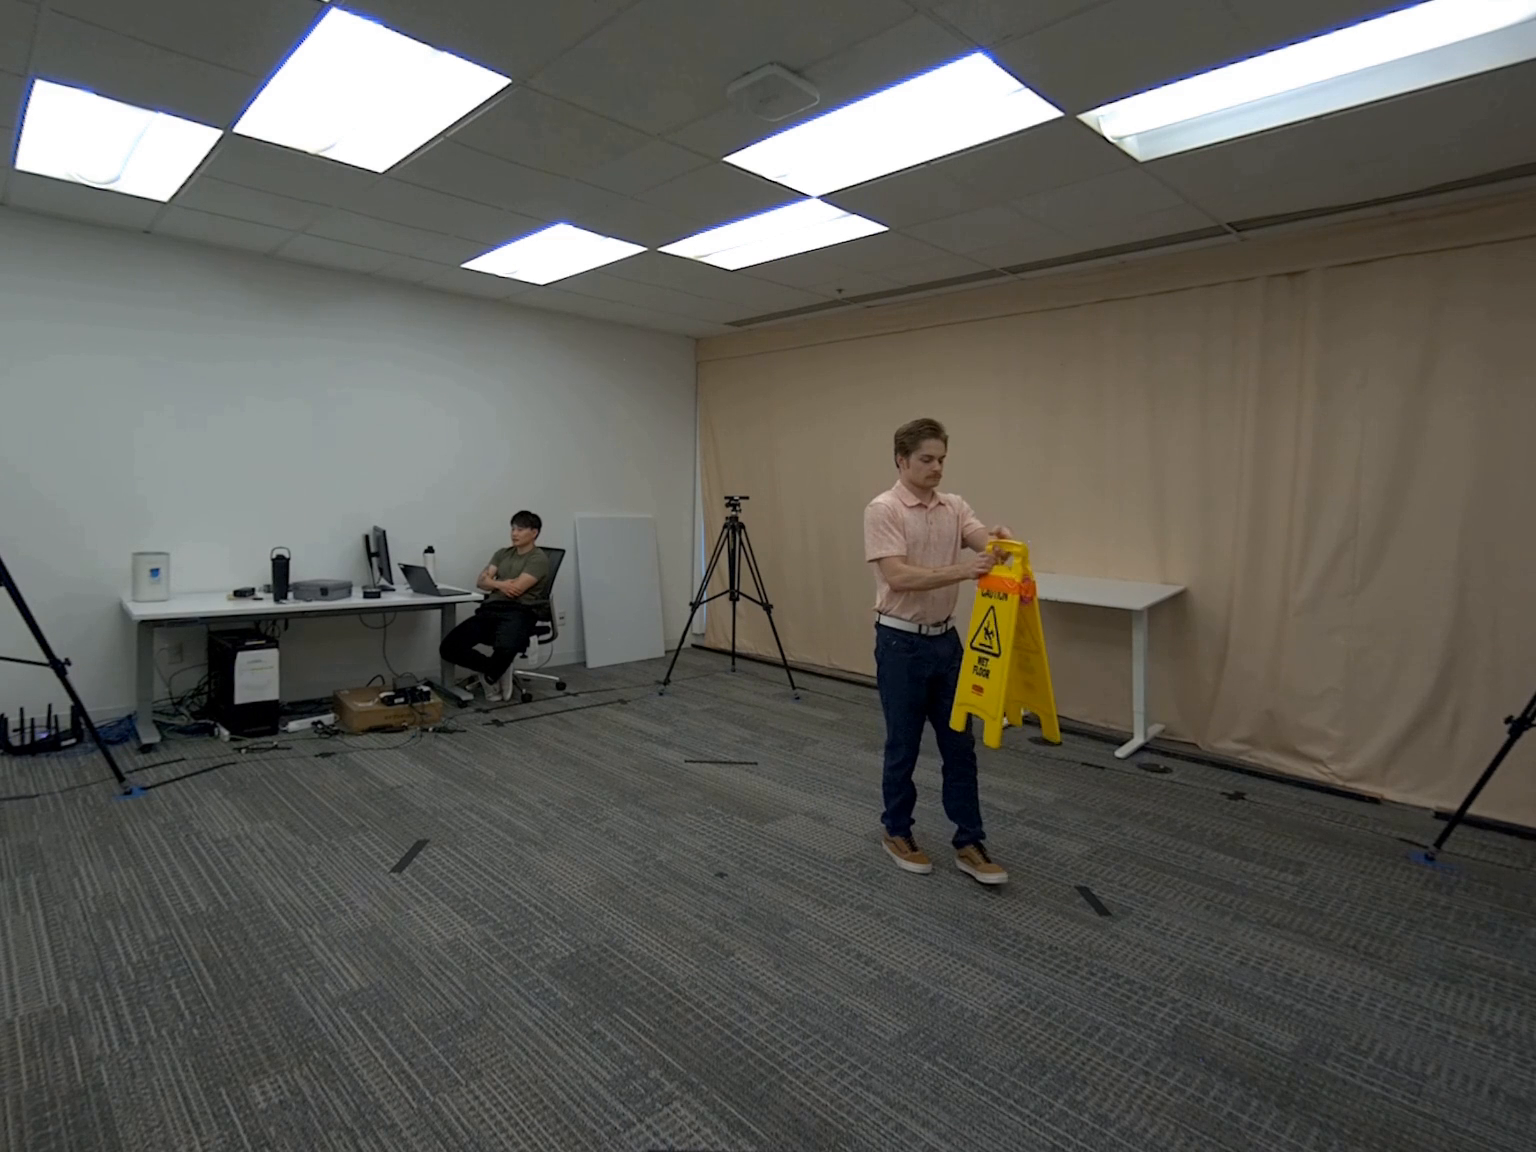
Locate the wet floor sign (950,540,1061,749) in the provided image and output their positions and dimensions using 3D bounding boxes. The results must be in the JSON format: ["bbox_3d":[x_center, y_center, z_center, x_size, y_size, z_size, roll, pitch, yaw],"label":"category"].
[{"bbox_3d":[0.785,0.208,2.795,0.286,0.644,0.286,-1,3,-16],"label":"wet floor sign"}]
